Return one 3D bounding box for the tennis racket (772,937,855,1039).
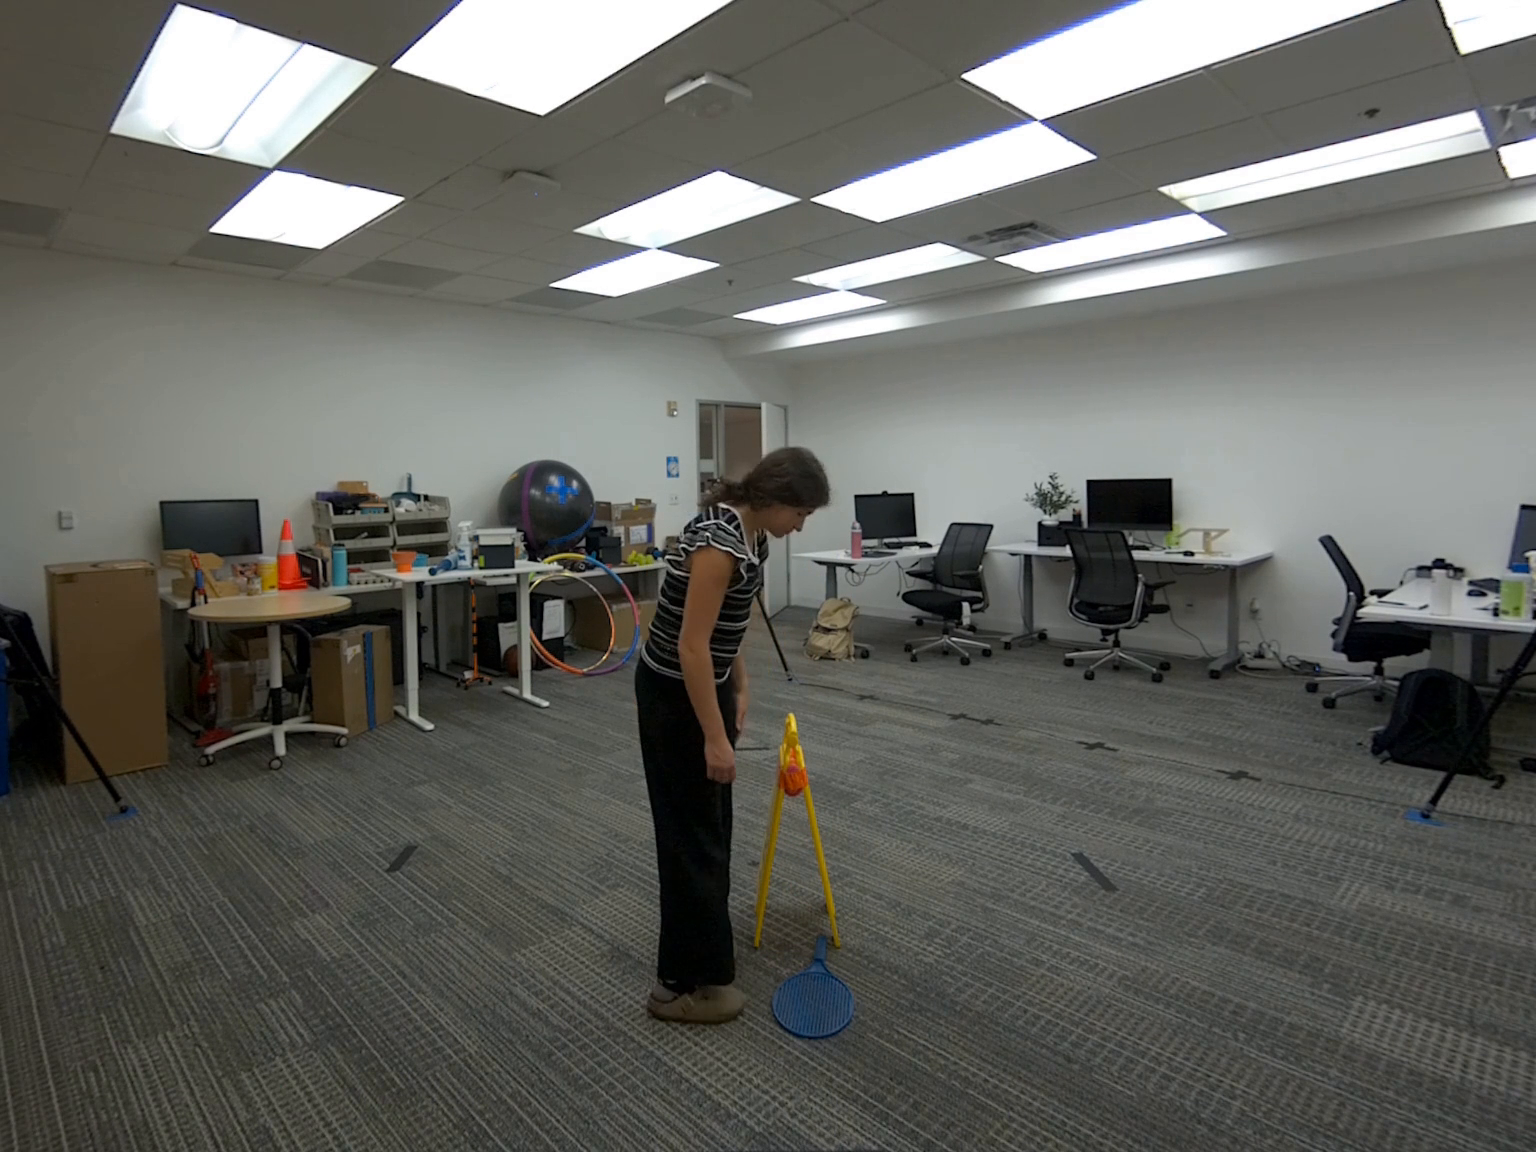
[{"bbox_3d":[0.135,1.115,2.348,0.216,0.031,0.431,0,8,8],"label":"tennis racket"}]
